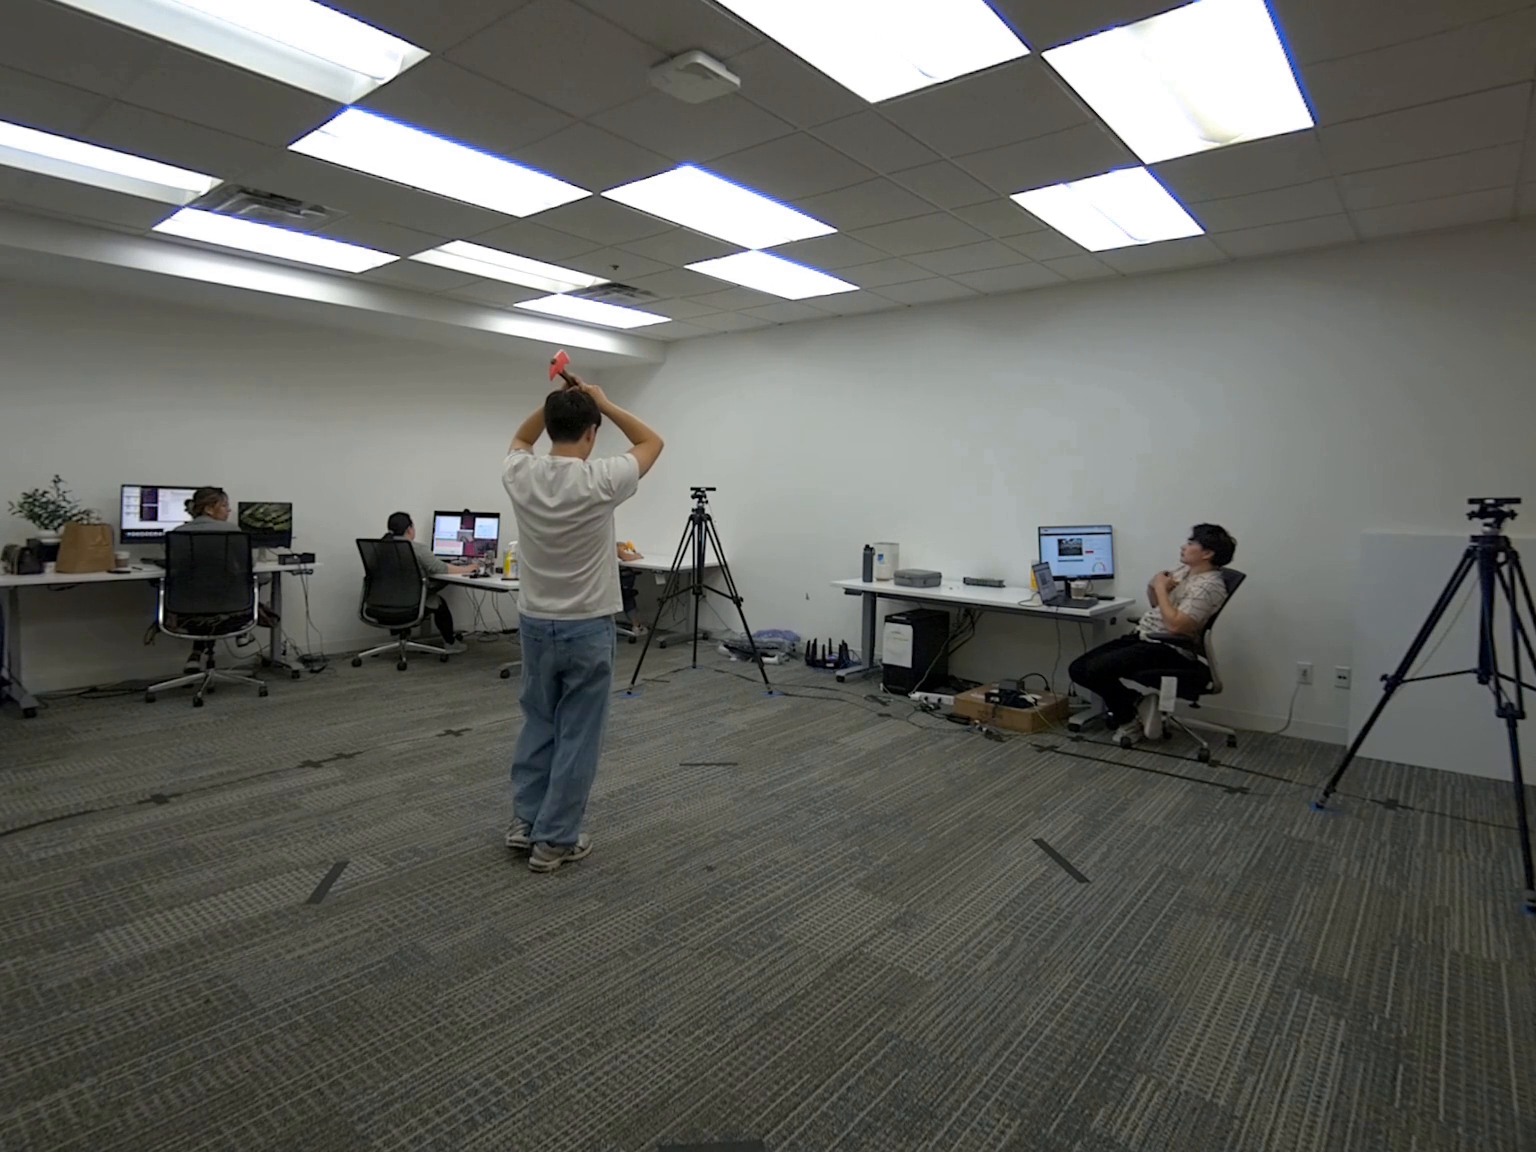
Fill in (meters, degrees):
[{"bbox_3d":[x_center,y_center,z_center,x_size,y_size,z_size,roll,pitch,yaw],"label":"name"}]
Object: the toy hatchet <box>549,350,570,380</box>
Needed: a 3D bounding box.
[{"bbox_3d":[-0.743,-0.758,3.169,0.030,0.132,0.262,0,-6,21],"label":"toy hatchet"}]
